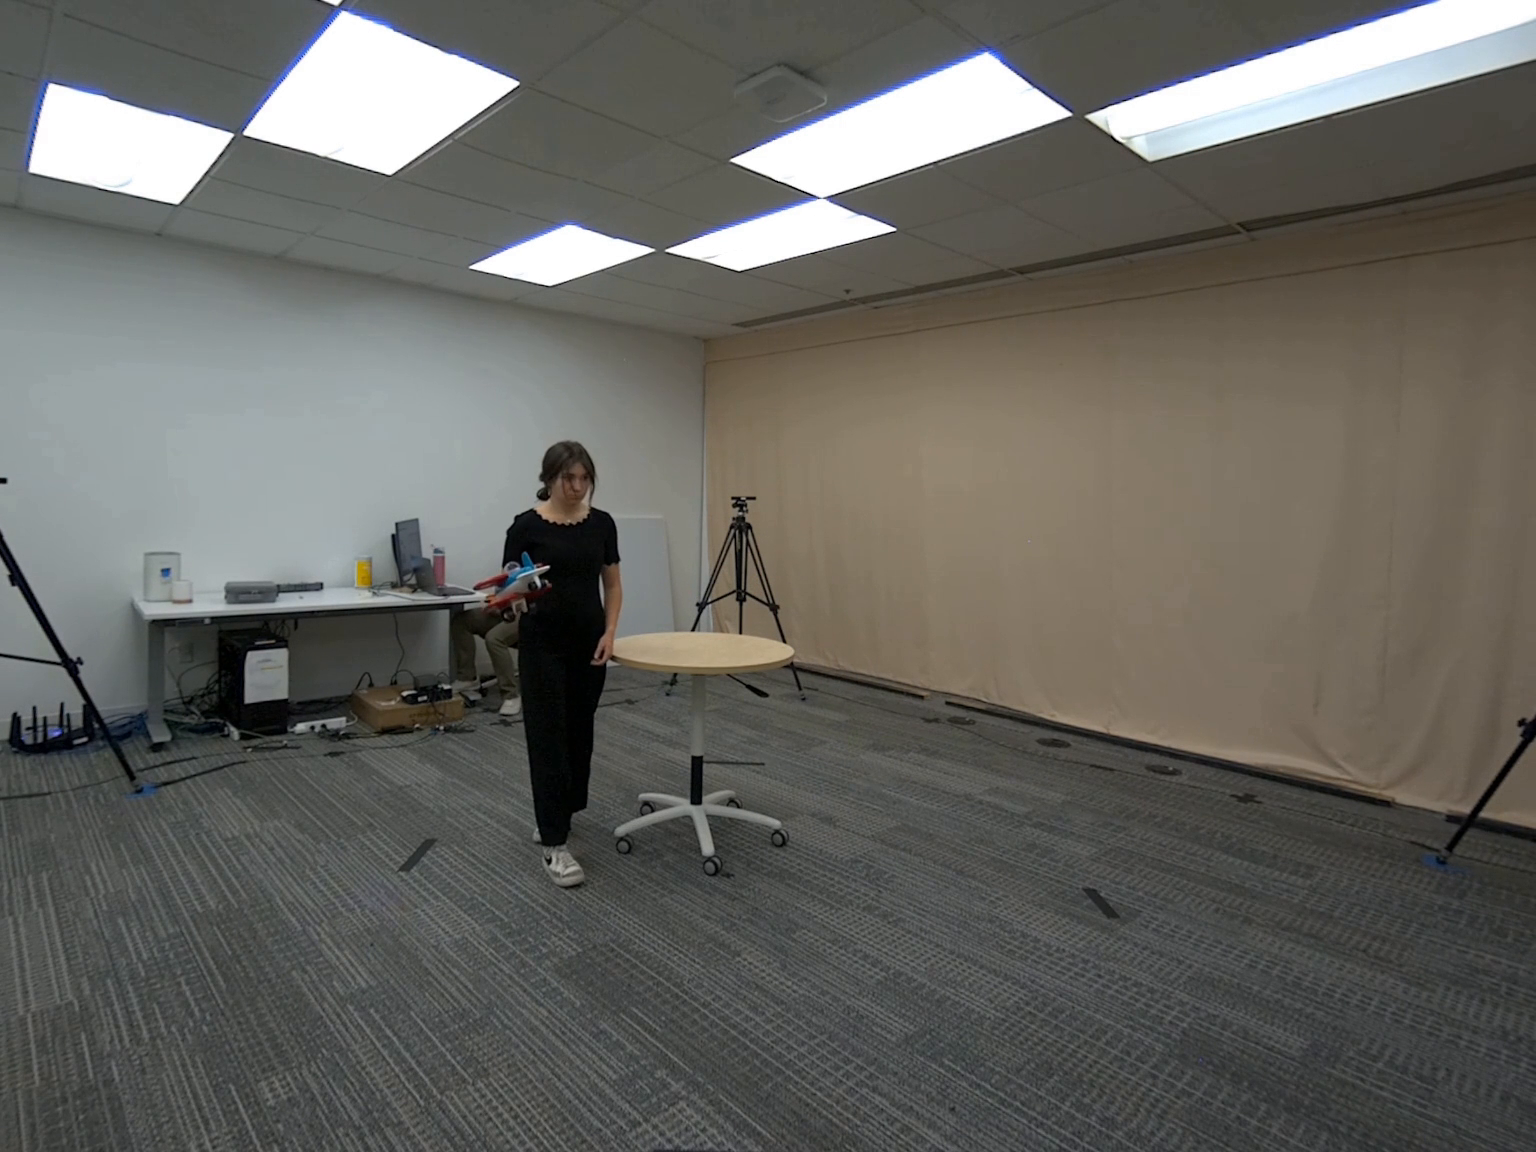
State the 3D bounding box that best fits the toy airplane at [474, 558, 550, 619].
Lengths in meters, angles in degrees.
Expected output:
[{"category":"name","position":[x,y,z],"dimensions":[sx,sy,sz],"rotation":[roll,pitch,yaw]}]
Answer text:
[{"category":"toy airplane","position":[-0.843,0.029,2.808],"dimensions":[0.259,0.159,0.246],"rotation":[-40,-15,15]}]
